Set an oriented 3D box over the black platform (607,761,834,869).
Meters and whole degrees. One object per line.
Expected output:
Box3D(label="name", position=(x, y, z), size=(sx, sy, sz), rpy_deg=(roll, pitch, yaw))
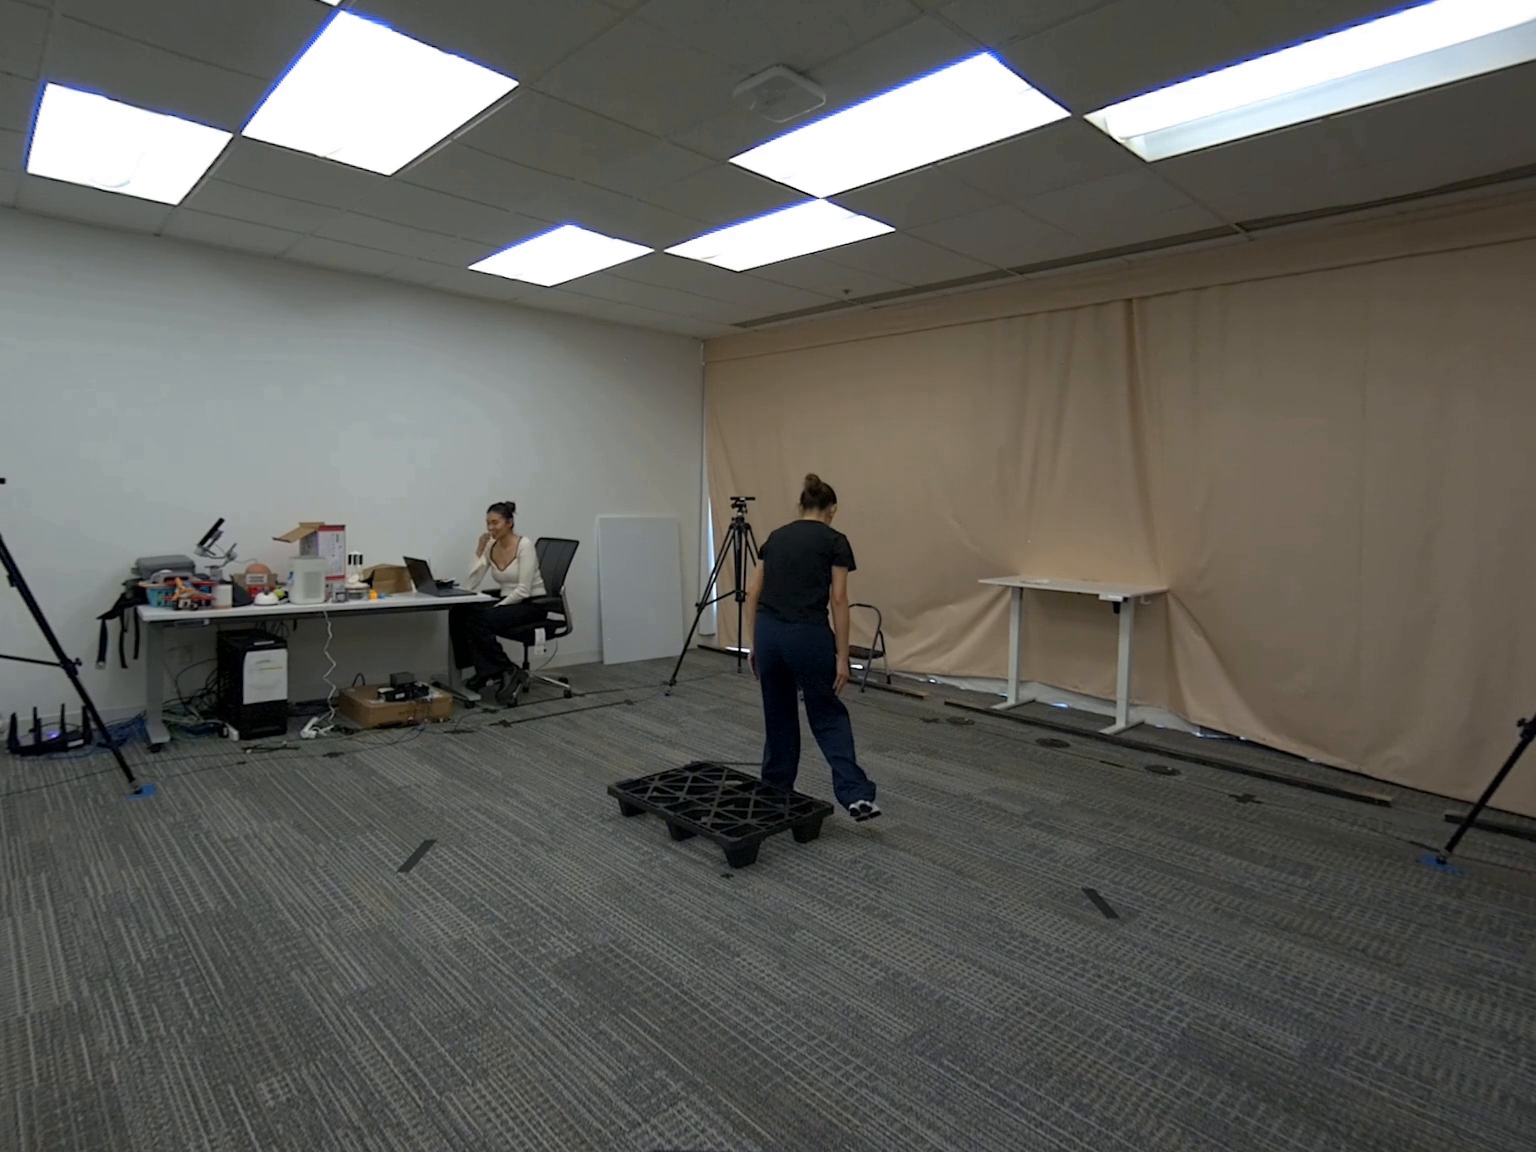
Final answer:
Box3D(label="black platform", position=(-0.222, 1.000, 3.559), size=(0.591, 0.143, 0.826), rpy_deg=(-5, 7, -45))
